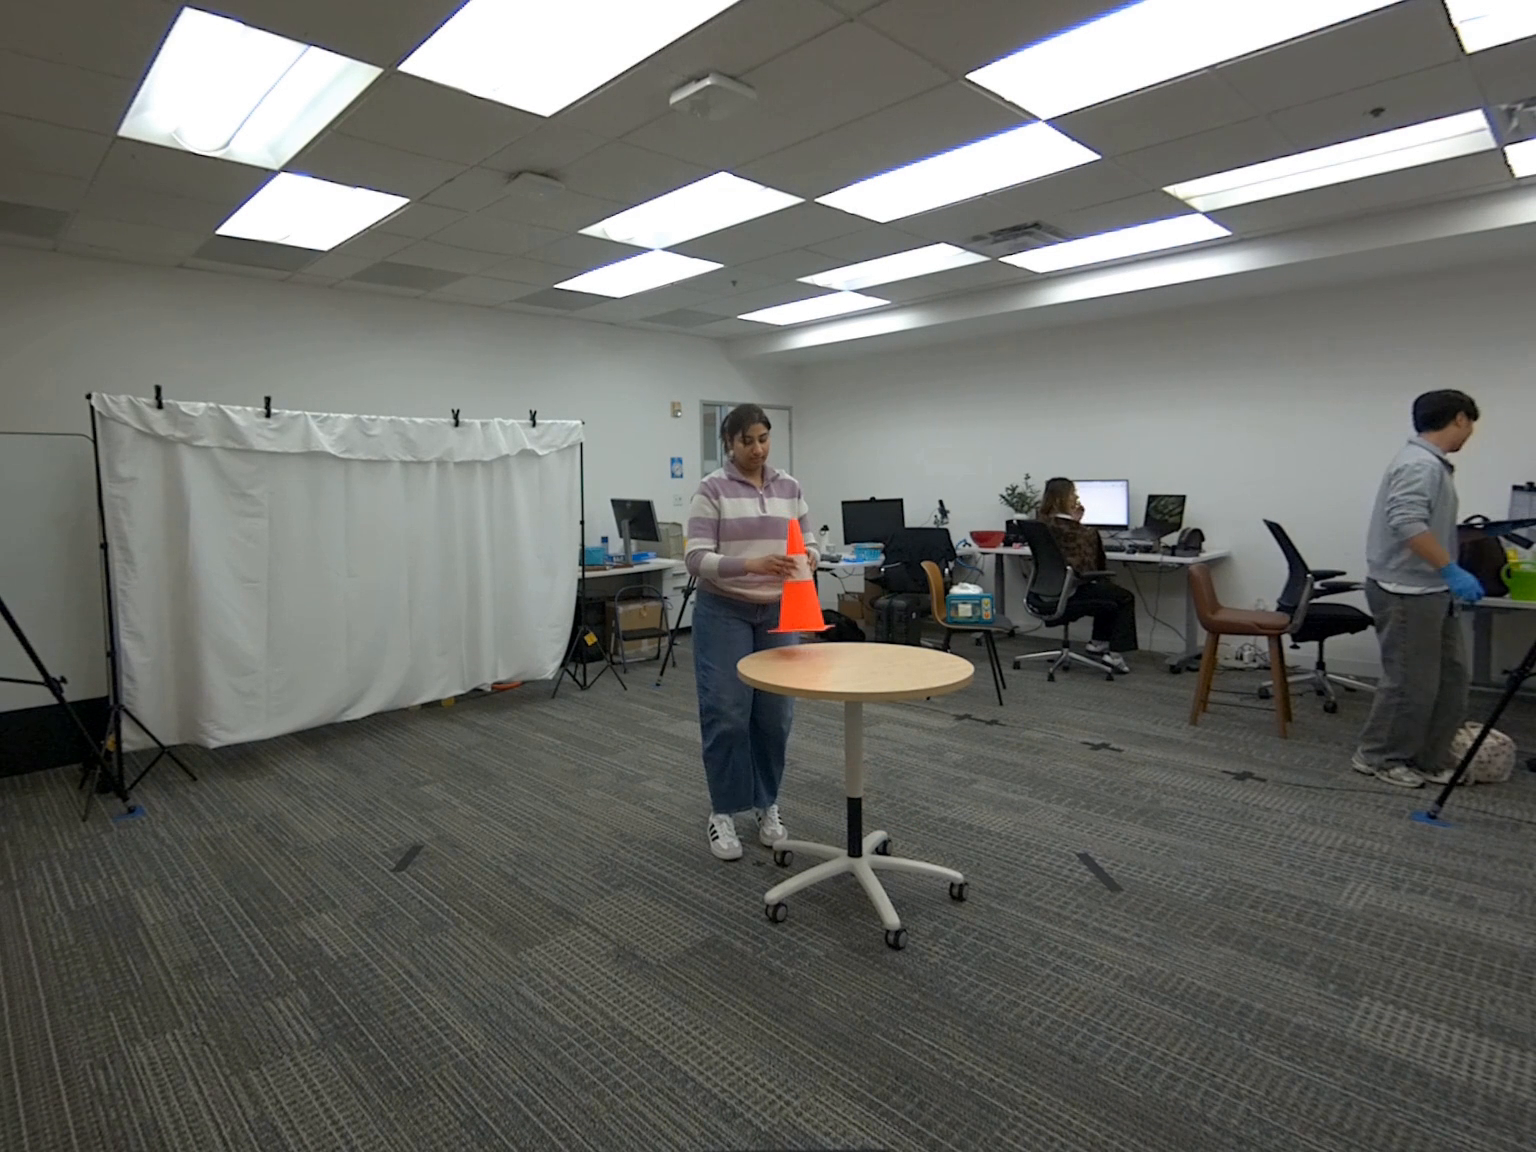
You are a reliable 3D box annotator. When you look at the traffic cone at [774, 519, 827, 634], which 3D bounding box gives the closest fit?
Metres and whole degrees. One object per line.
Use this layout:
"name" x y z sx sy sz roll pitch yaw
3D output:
"traffic cone" 0.096 -0.005 2.986 0.207 0.384 0.200 -4 -2 24
